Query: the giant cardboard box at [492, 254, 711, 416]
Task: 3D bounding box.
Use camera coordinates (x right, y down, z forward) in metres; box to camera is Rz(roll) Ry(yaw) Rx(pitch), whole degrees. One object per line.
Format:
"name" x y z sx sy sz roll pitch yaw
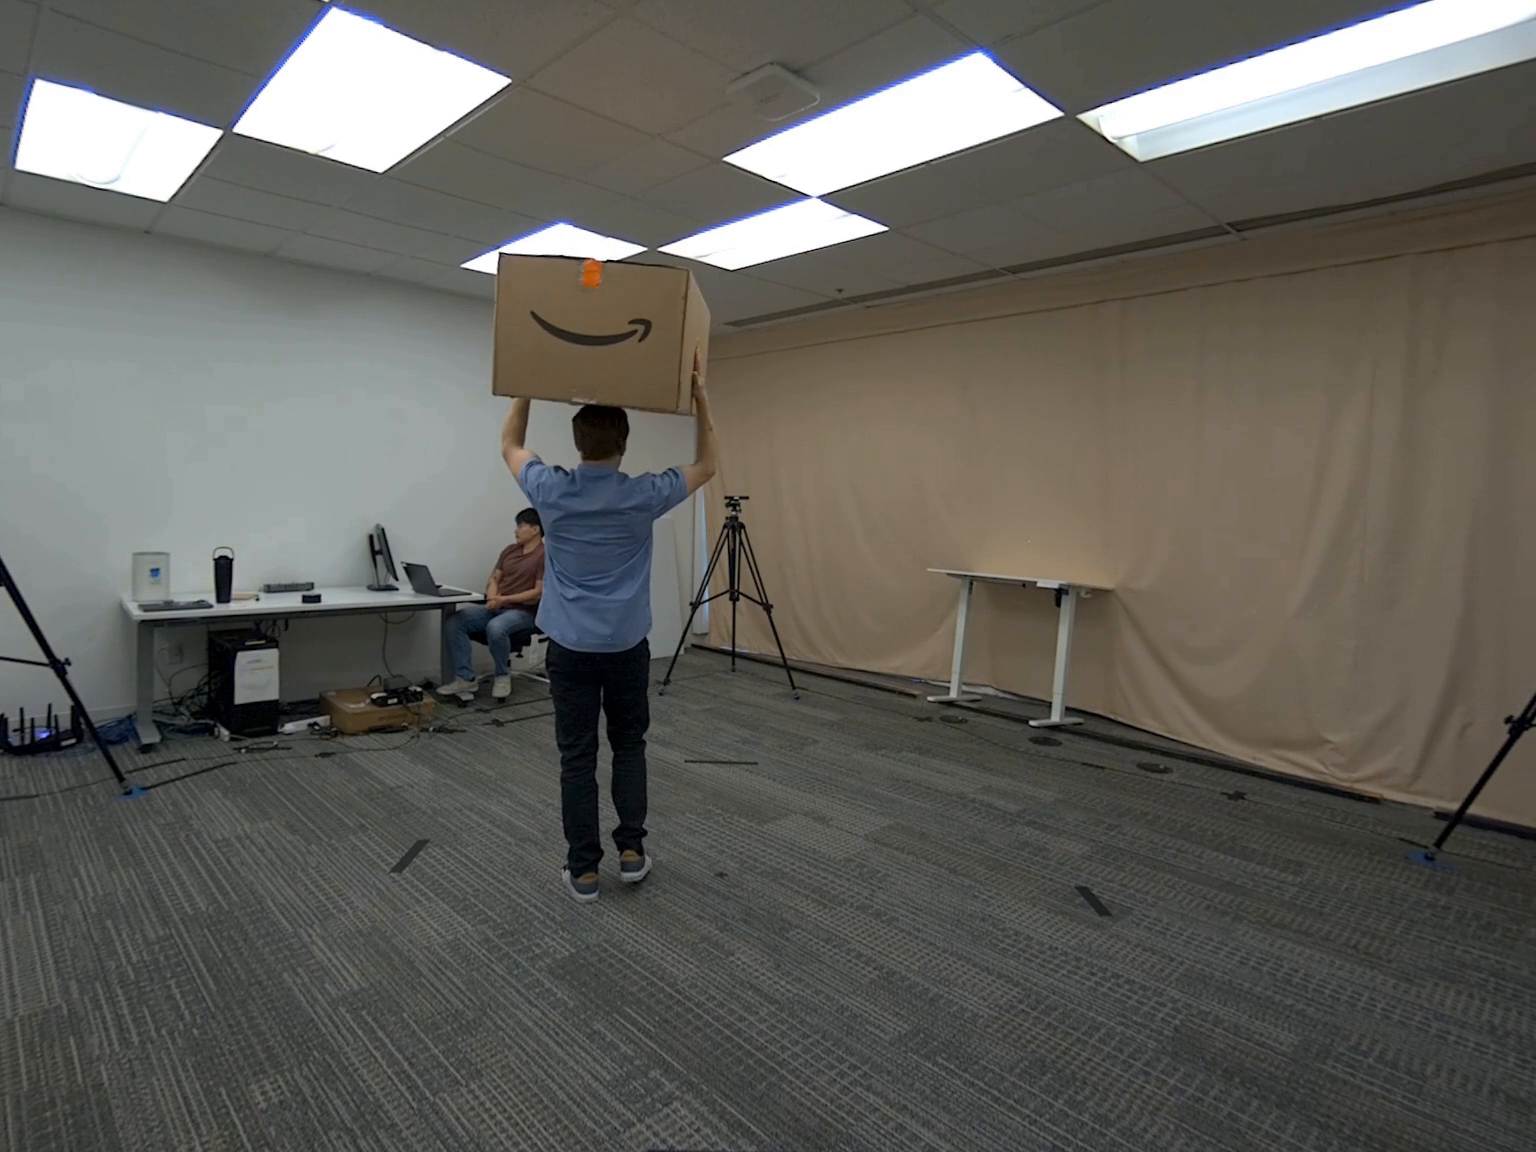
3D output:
"giant cardboard box" -0.540 -0.817 3.017 0.578 0.424 1.032 6 10 -1
